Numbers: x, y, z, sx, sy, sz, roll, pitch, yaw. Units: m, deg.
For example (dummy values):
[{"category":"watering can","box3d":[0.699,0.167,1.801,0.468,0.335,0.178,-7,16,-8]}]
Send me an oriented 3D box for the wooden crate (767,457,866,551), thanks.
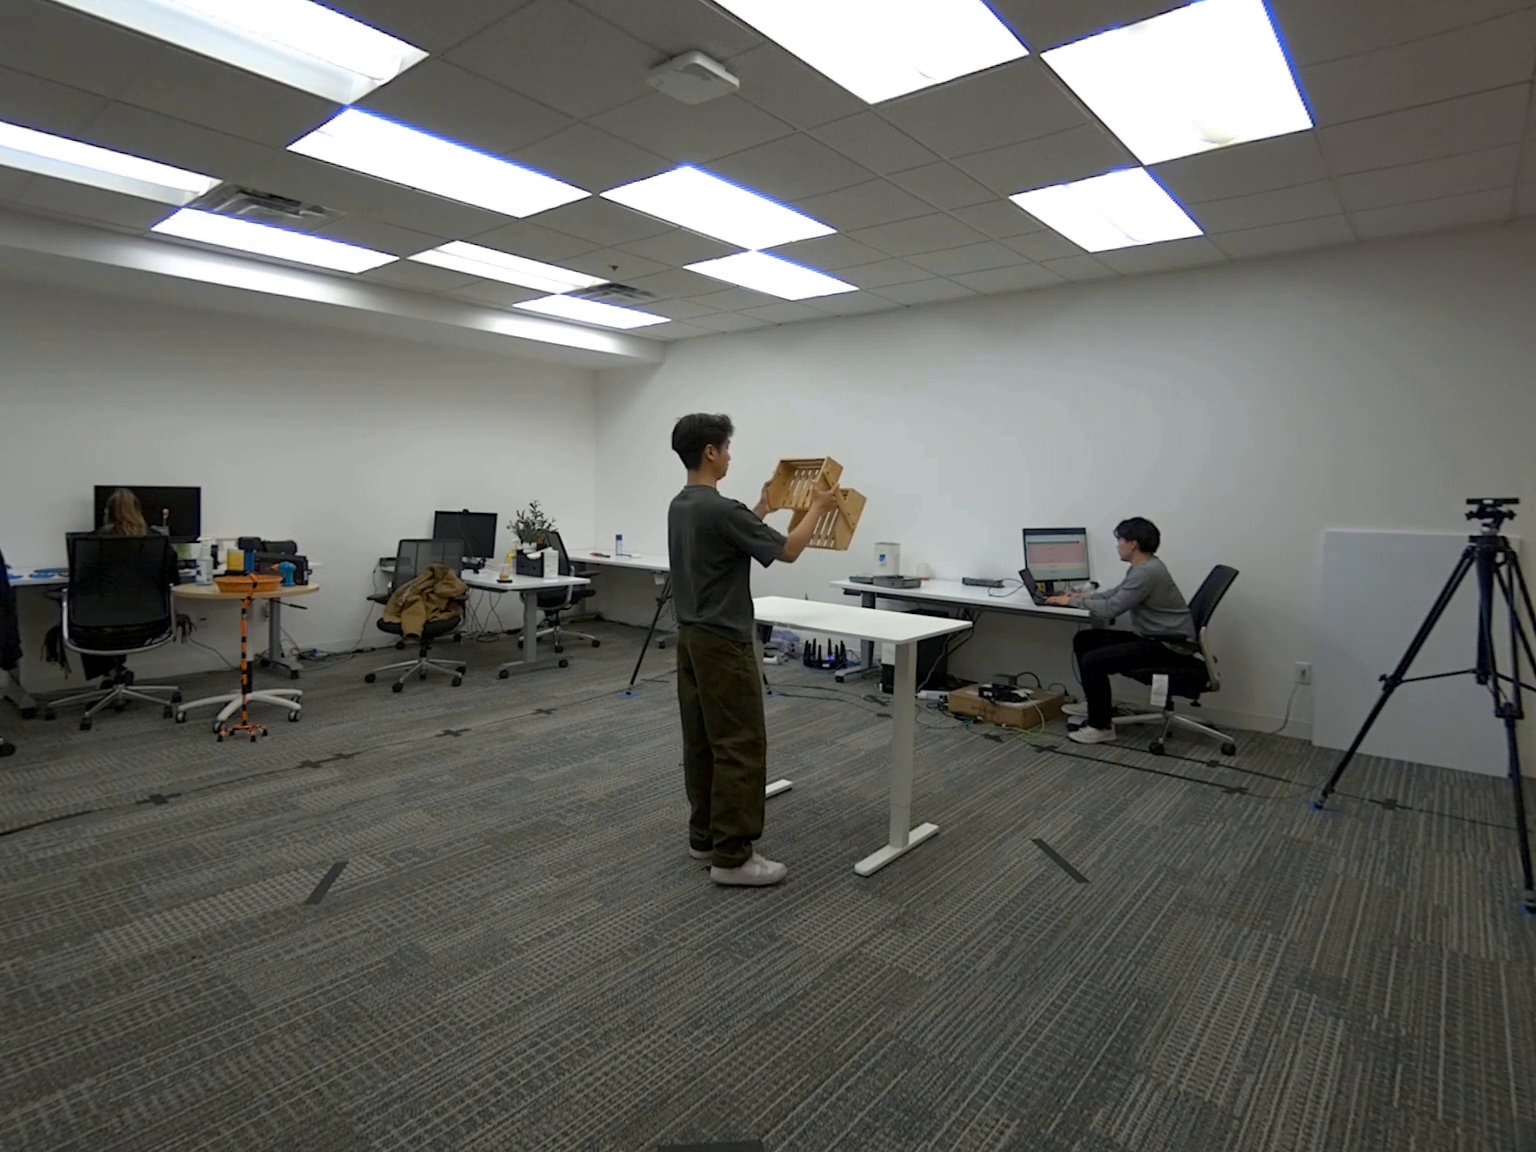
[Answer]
[{"category":"wooden crate","box3d":[0.164,-0.289,3.426,0.263,0.304,0.335,31,-14,-33]}]
